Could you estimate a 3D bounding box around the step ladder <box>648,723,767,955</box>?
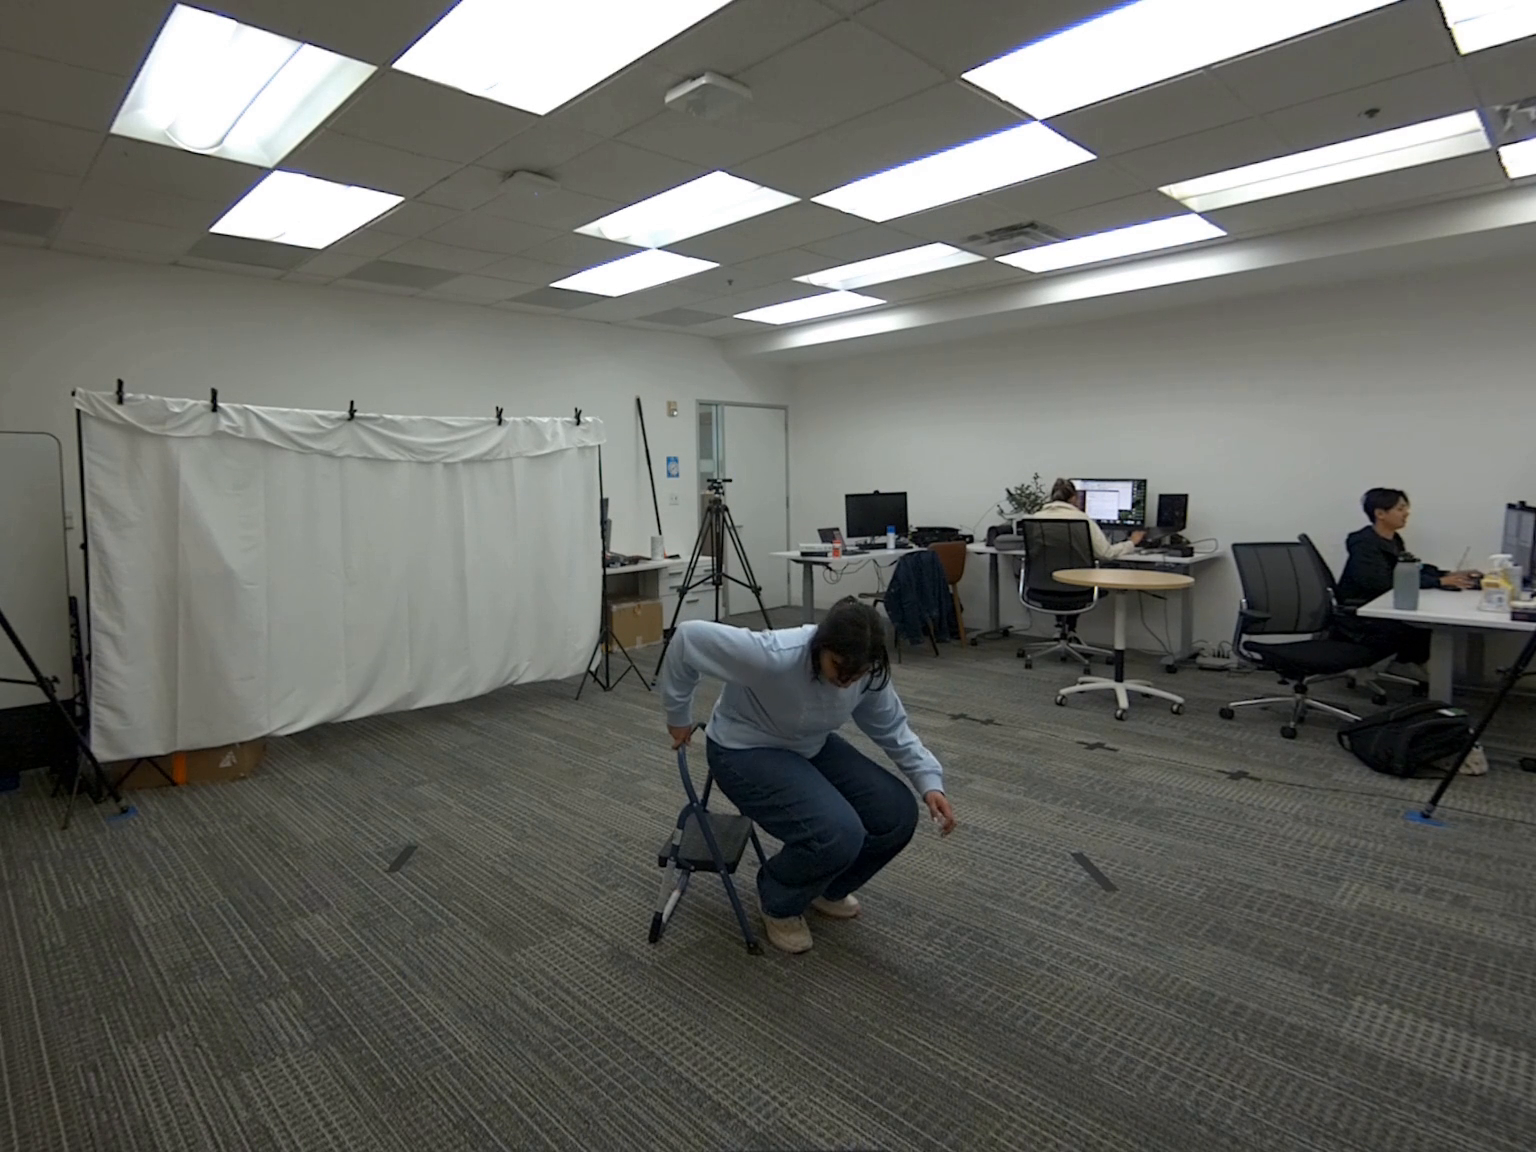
[{"bbox_3d":[-0.166,0.788,2.732,0.353,0.604,0.428,0,4,9],"label":"step ladder"}]
